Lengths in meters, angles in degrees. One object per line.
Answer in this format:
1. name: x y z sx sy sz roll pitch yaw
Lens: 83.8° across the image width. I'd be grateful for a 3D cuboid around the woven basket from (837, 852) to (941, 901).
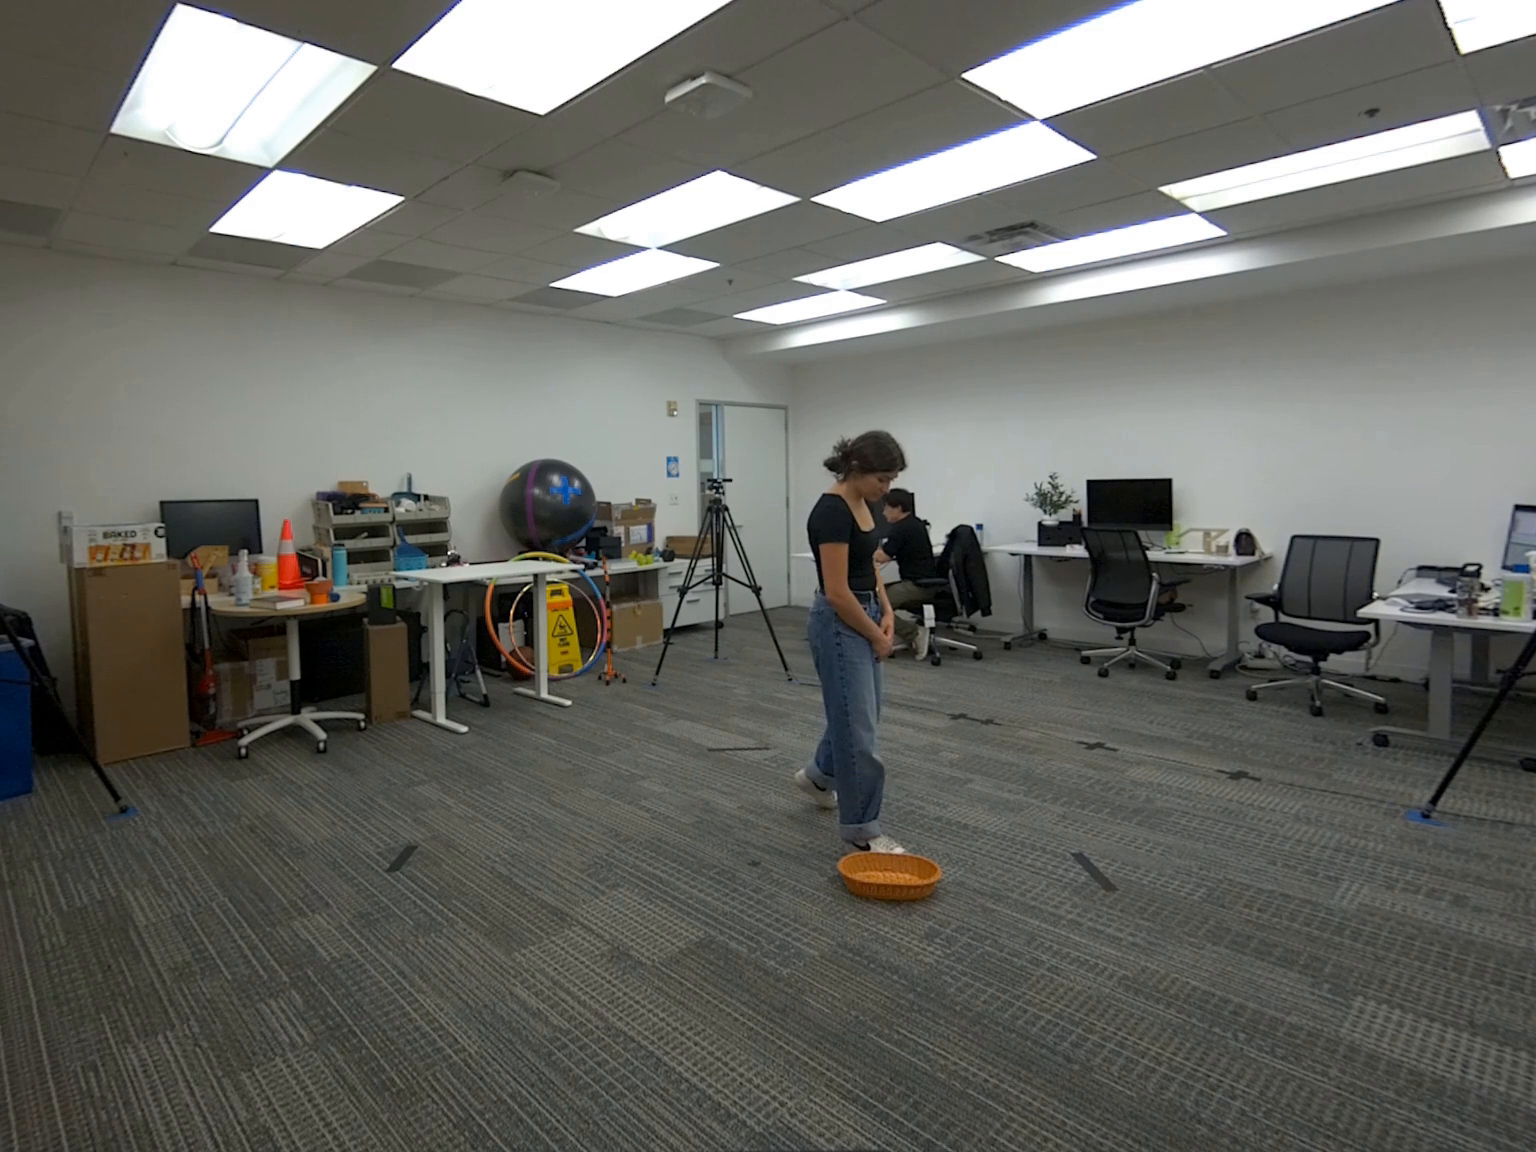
1. woven basket: 0.408 1.025 2.907 0.354 0.073 0.250 0 5 11
